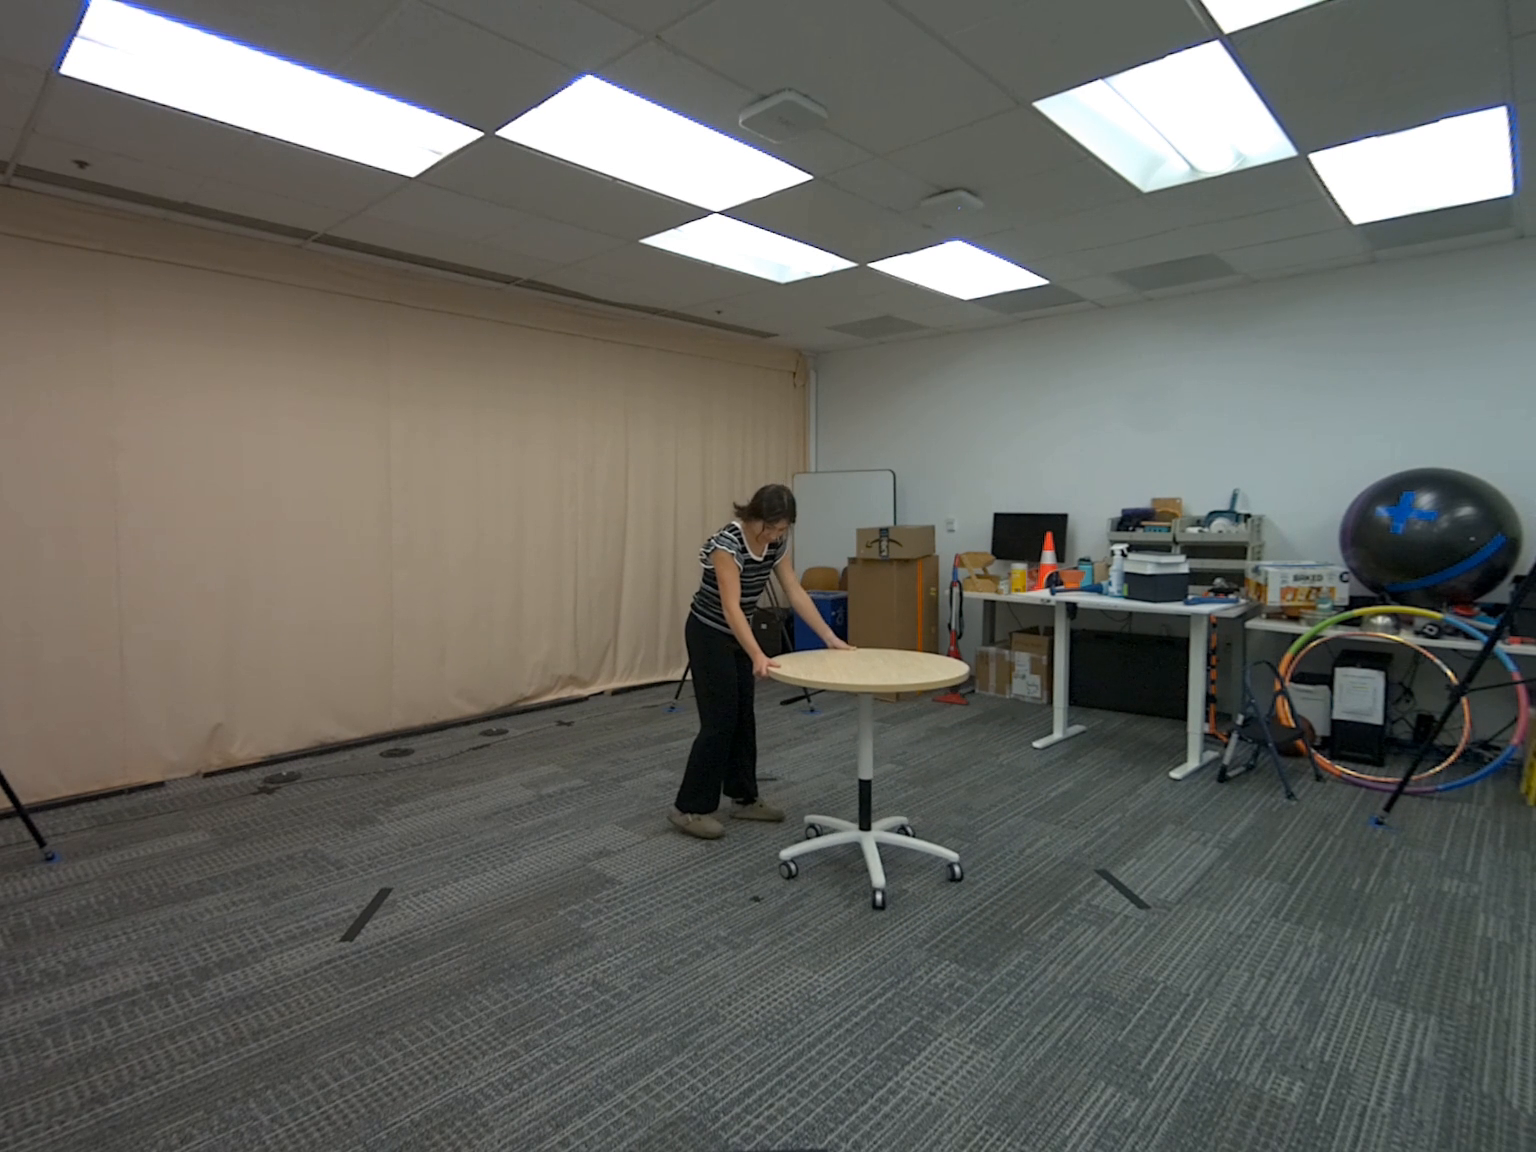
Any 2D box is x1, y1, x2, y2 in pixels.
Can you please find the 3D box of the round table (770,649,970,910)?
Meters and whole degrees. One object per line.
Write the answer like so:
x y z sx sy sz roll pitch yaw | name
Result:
0.382 0.734 3.236 0.763 0.792 0.766 0 3 -2 | round table
